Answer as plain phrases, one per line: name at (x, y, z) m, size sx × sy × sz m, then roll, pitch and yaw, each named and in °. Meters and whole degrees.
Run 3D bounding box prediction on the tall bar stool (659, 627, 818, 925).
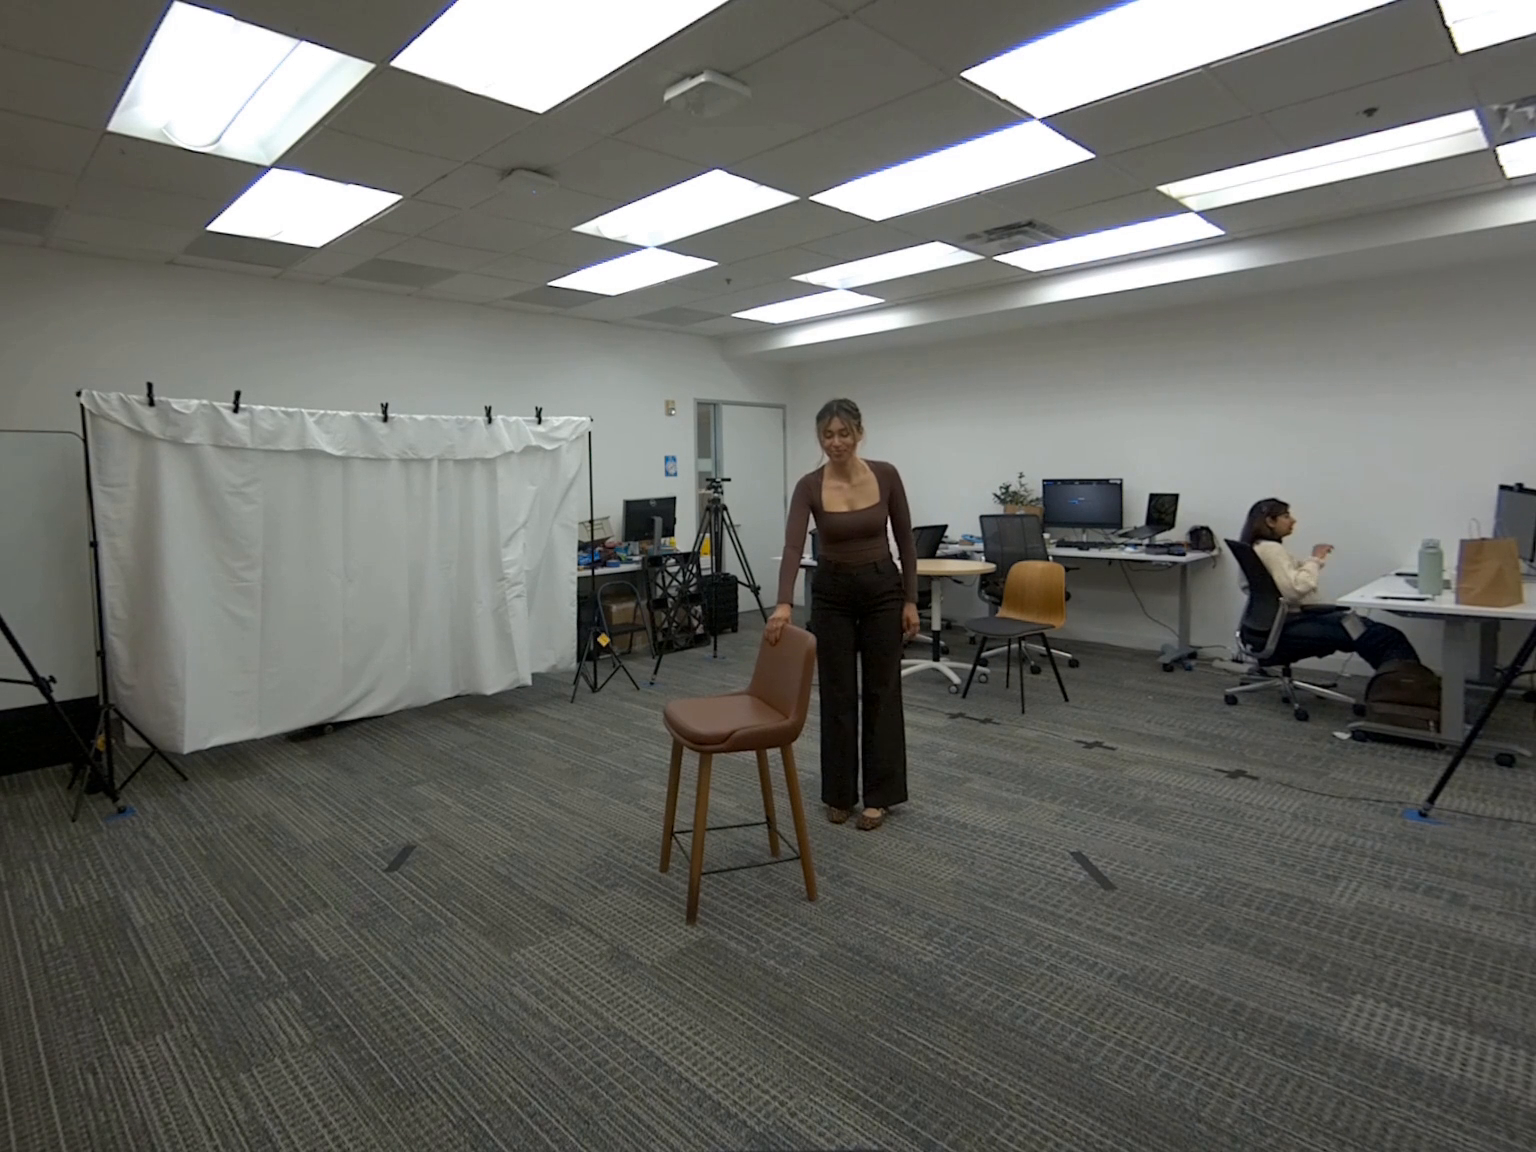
tall bar stool at (-0.106, 0.630, 2.909) m, size 0.459 × 0.887 × 0.466 m, roll 0°, pitch 4°, yaw -19°
